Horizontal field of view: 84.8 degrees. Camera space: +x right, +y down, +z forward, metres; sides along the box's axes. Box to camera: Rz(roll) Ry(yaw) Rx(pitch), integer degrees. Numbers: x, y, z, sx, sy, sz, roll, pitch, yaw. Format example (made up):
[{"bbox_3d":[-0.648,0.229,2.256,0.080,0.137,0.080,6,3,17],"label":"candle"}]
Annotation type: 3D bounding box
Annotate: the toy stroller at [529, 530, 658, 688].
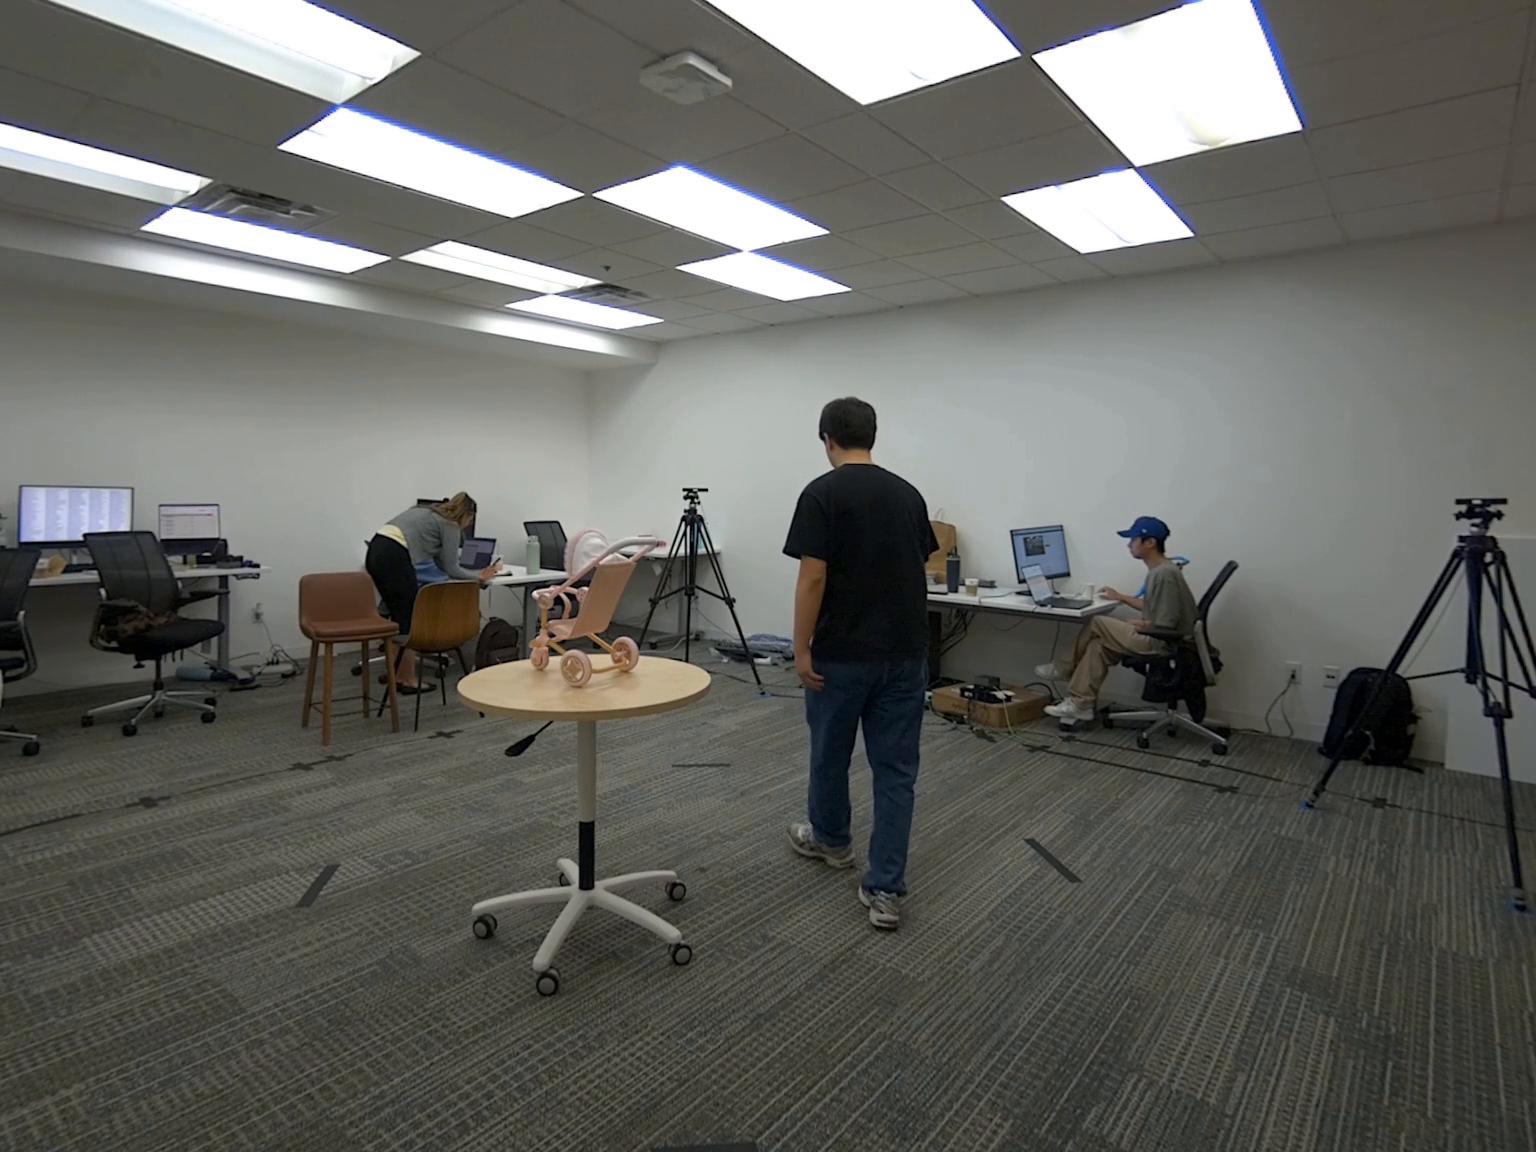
[{"bbox_3d":[-0.586,0.086,2.649,0.353,0.531,0.274,19,12,30],"label":"toy stroller"}]
